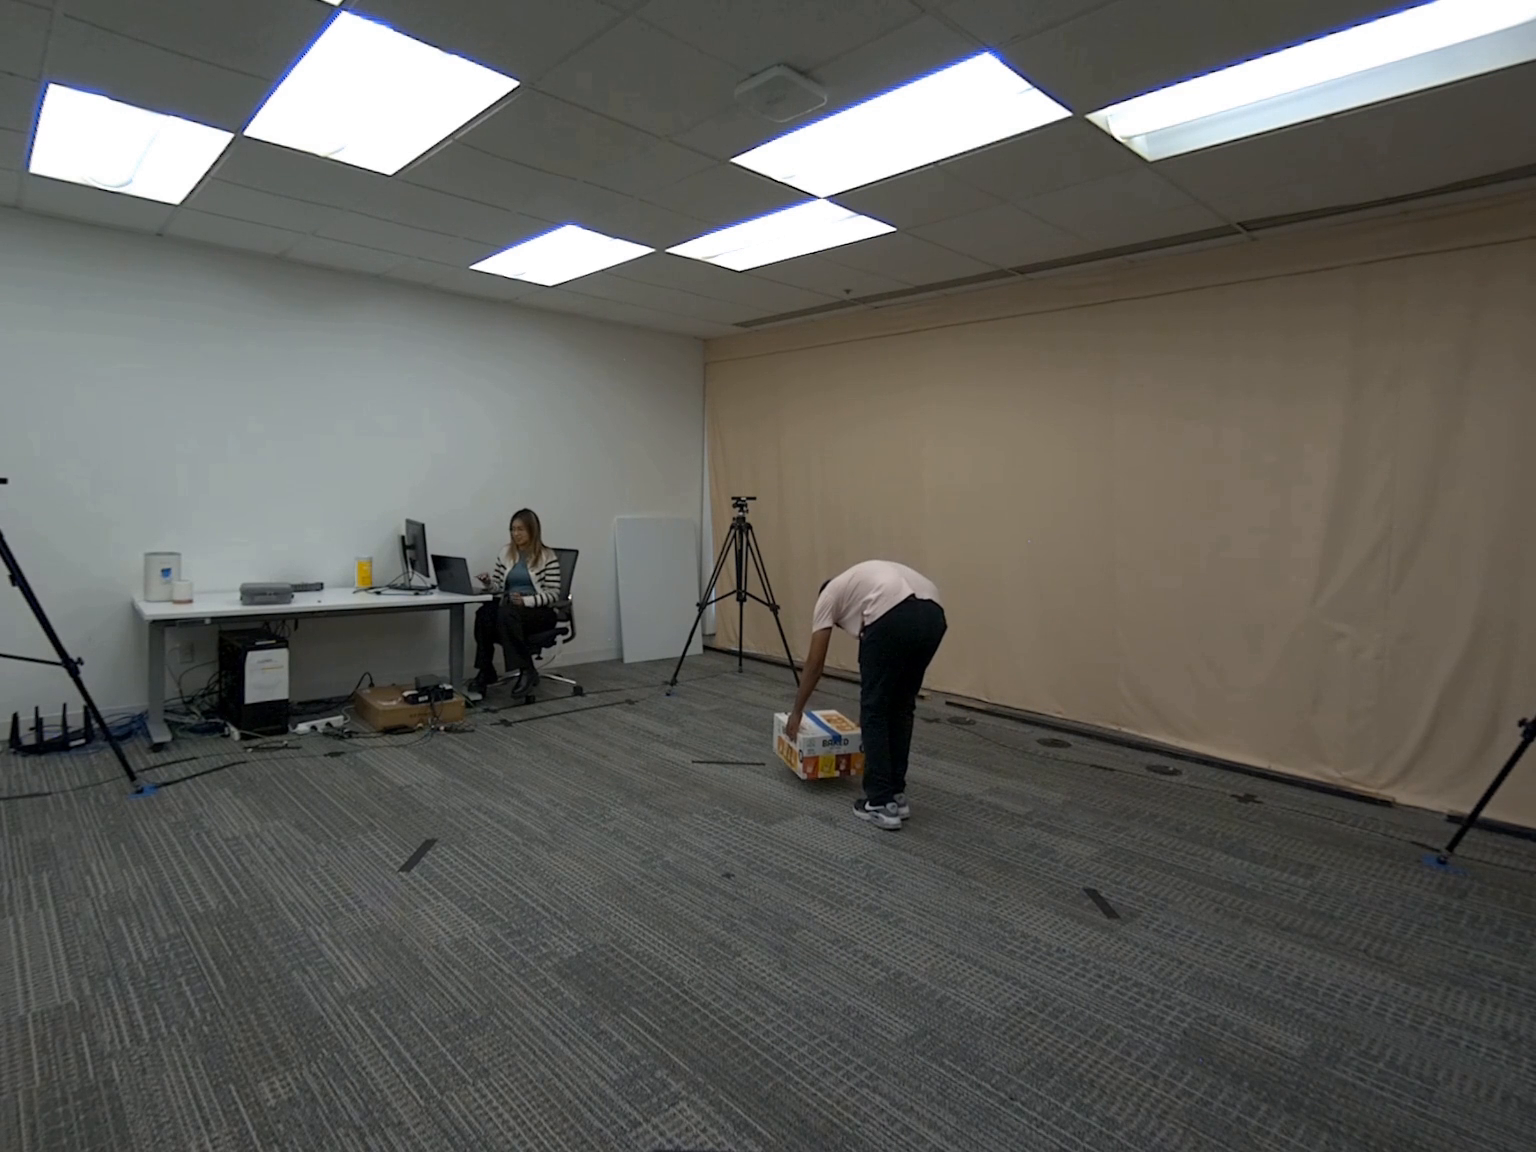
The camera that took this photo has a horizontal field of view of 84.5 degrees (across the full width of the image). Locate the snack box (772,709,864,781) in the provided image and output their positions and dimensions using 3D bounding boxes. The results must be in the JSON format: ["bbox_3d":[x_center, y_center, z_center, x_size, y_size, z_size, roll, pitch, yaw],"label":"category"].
[{"bbox_3d":[0.239,0.826,4.209,0.336,0.205,0.412,0,7,-18],"label":"snack box"}]
